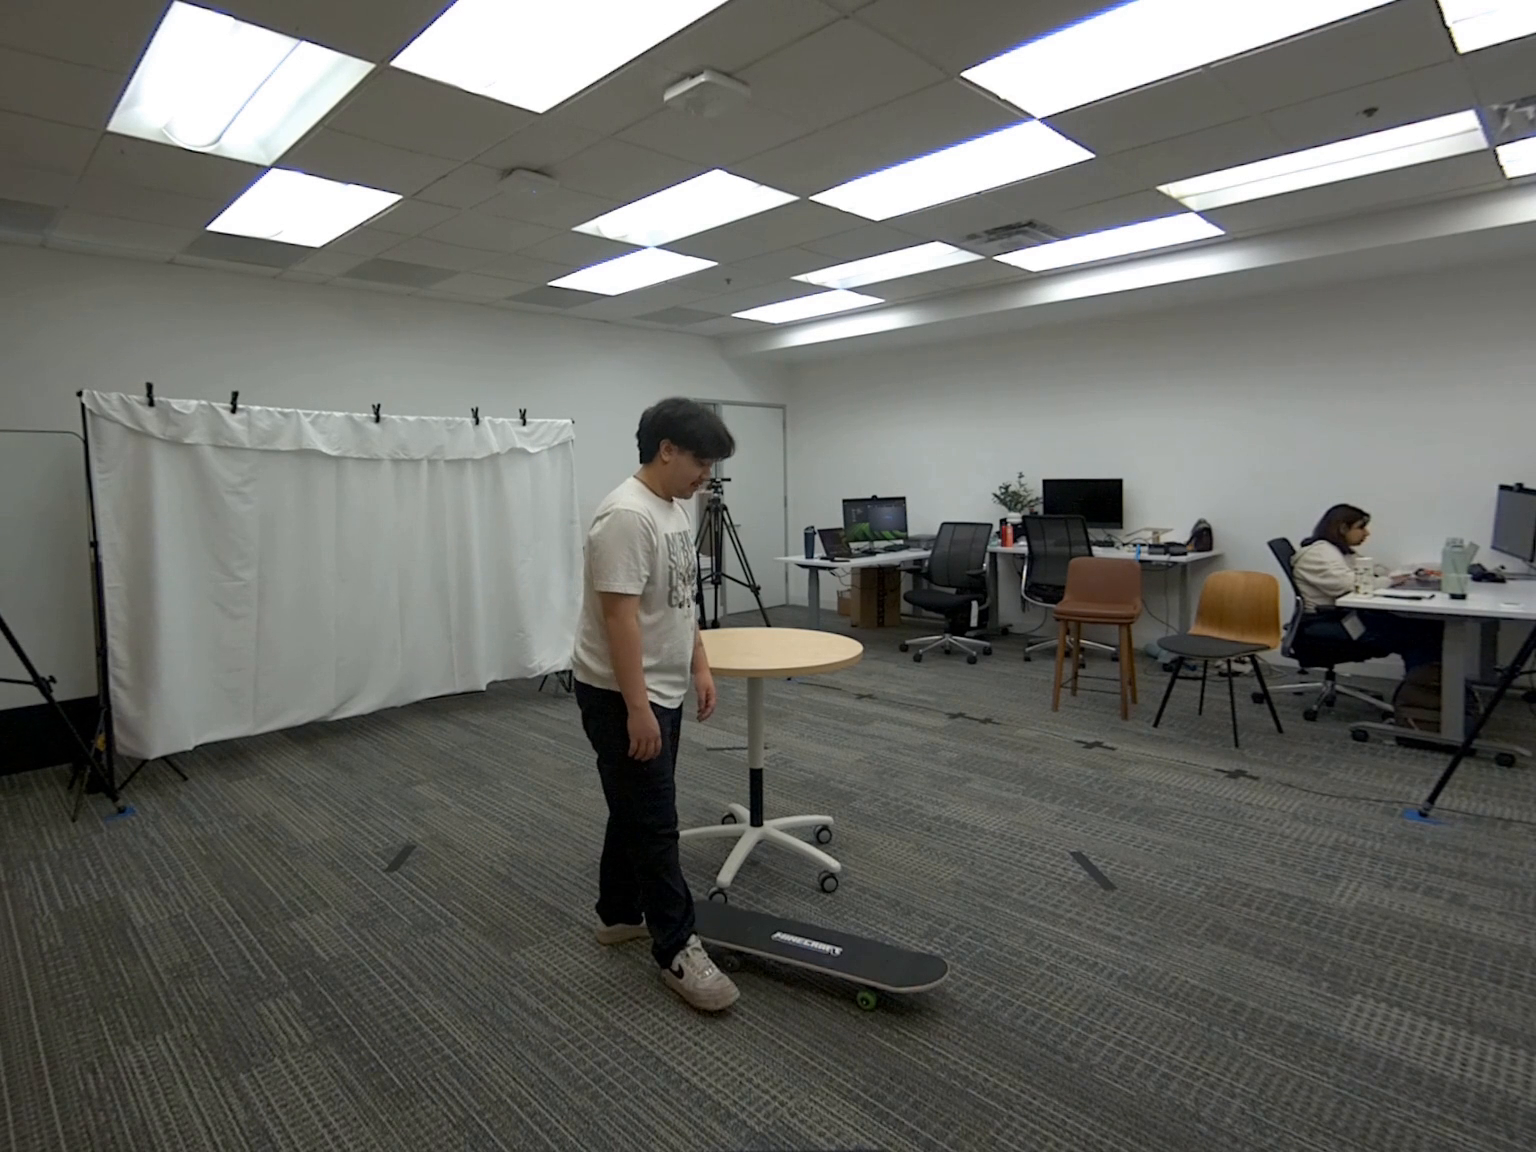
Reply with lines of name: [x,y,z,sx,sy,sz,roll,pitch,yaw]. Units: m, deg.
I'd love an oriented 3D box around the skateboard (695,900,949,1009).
skateboard: [0.114,1.065,2.401,0.804,0.110,0.190,2,7,27]
